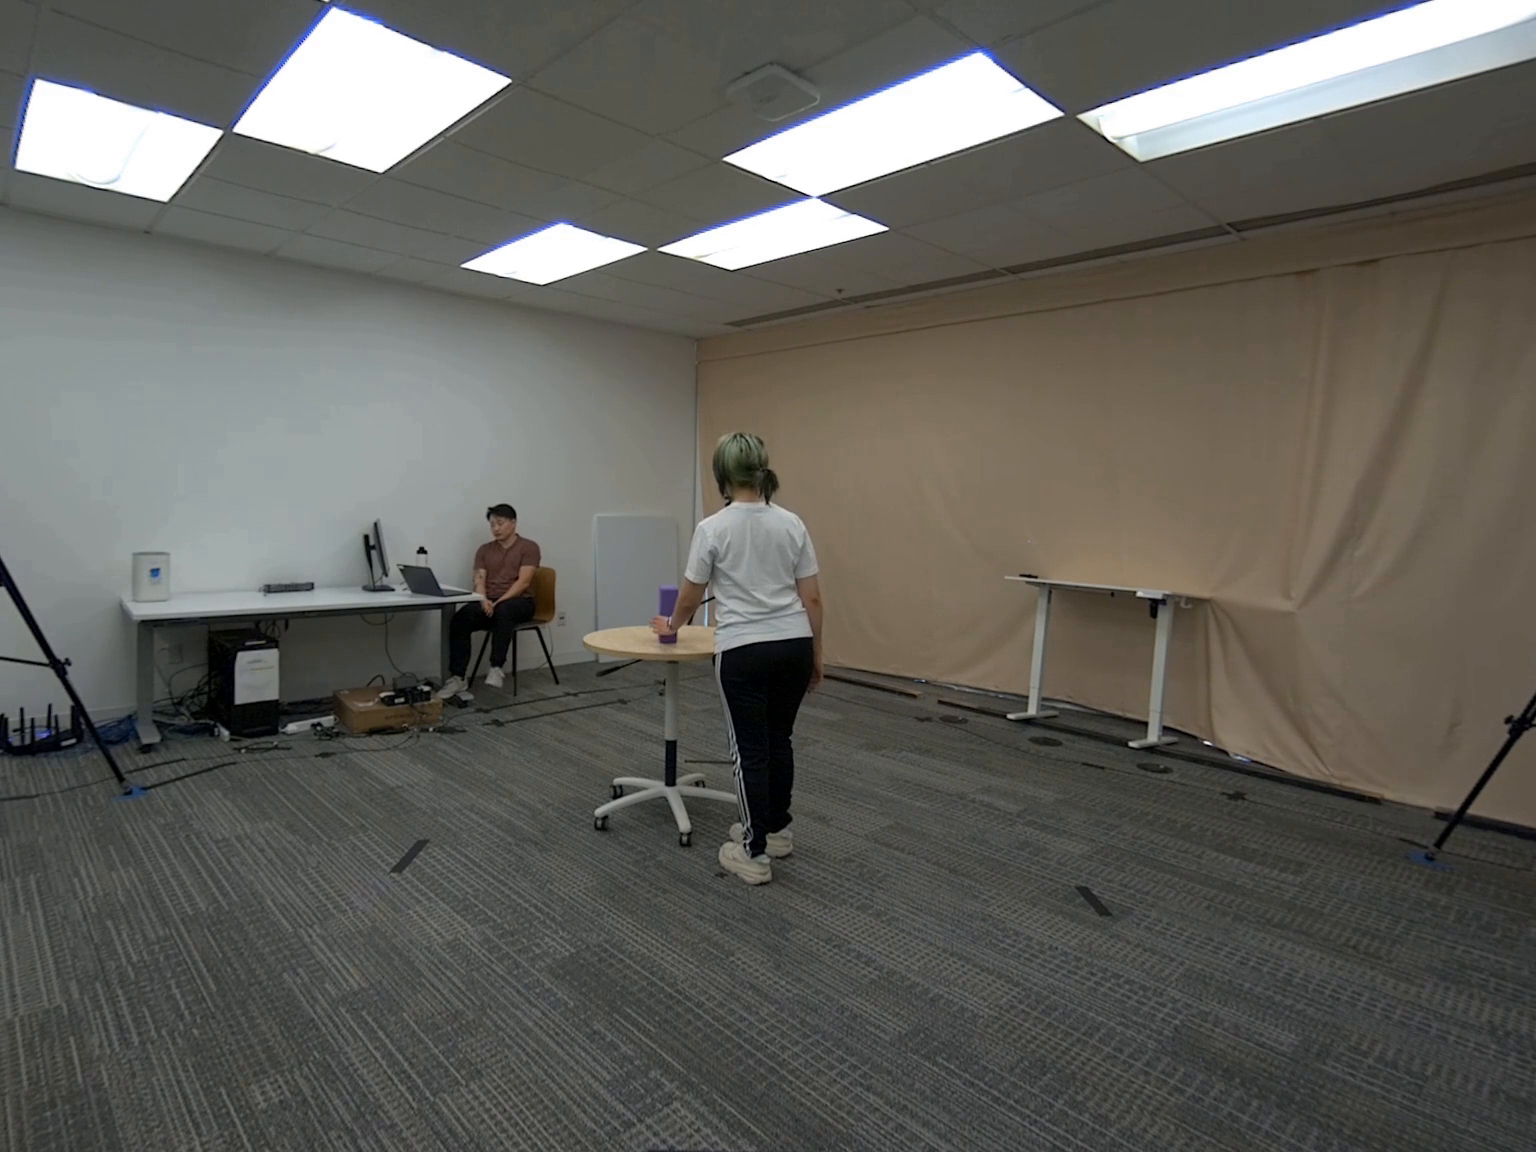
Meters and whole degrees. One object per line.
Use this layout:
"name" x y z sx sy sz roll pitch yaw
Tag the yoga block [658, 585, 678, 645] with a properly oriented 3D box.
"yoga block" -0.432 0.159 3.546 0.076 0.229 0.149 3 2 -3
